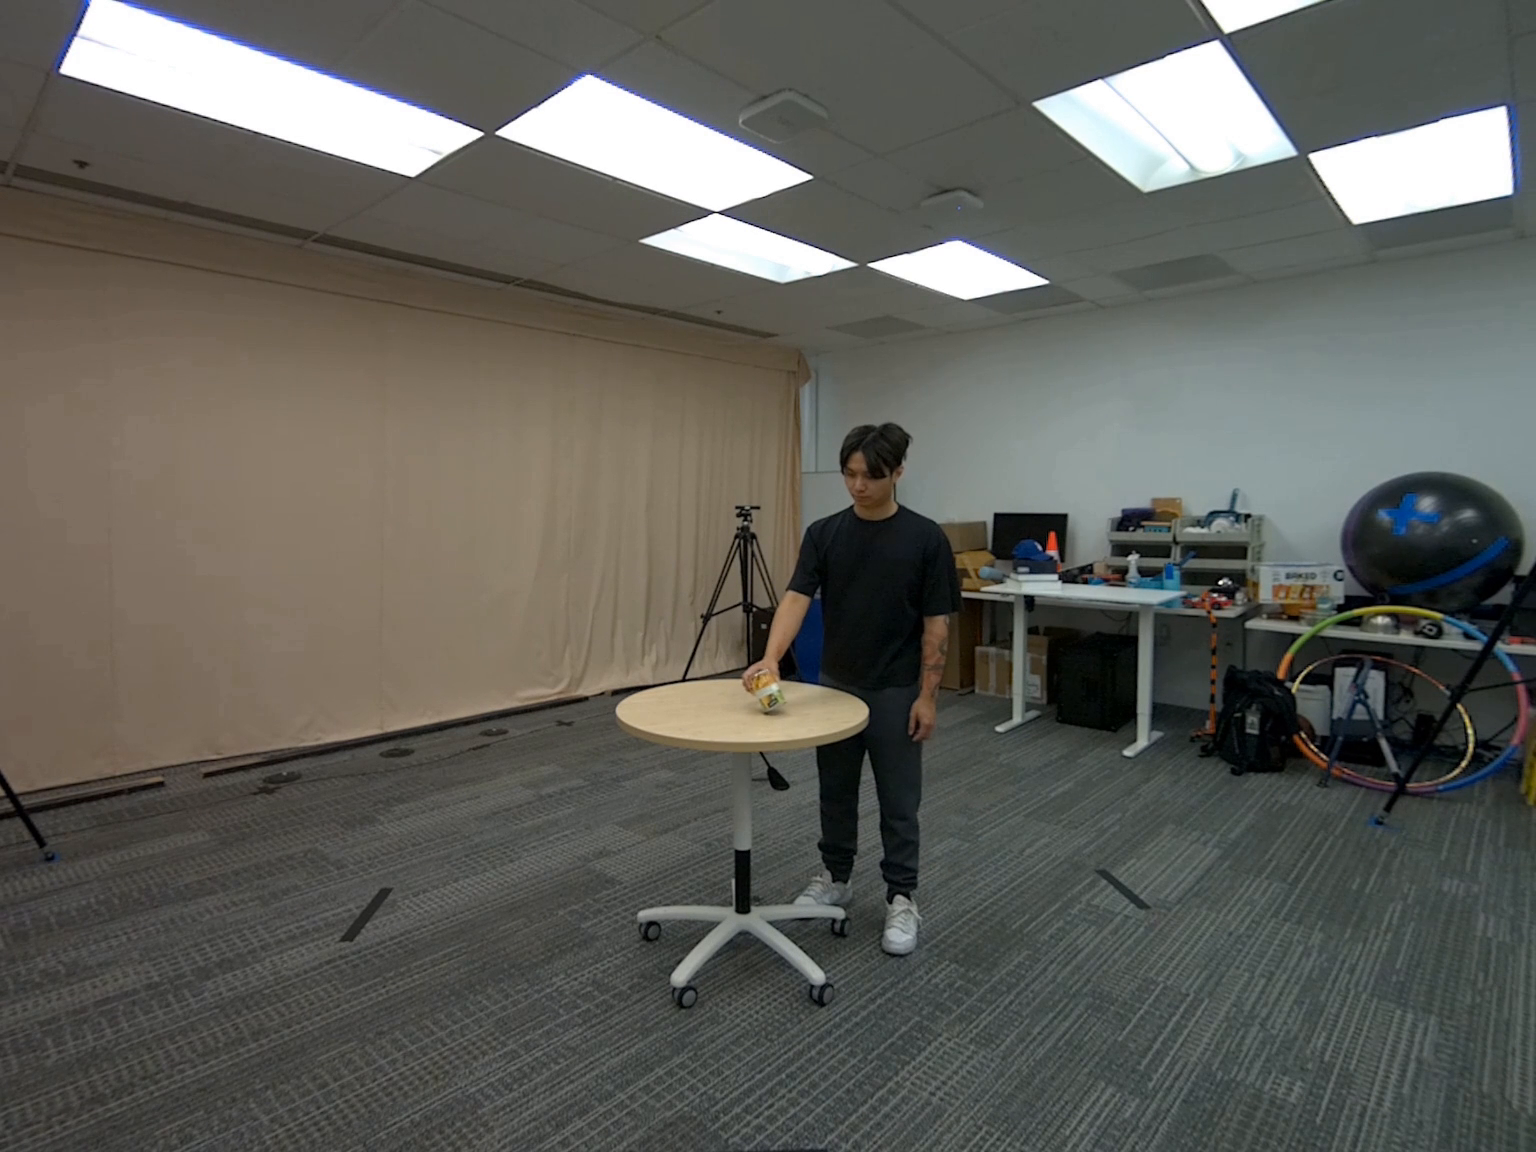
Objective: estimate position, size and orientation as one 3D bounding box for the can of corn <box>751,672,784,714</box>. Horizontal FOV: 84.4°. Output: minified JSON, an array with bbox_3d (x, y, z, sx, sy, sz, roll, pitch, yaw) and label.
[{"bbox_3d":[0.002,0.341,2.484,0.074,0.111,0.074,-21,-4,-3],"label":"can of corn"}]
